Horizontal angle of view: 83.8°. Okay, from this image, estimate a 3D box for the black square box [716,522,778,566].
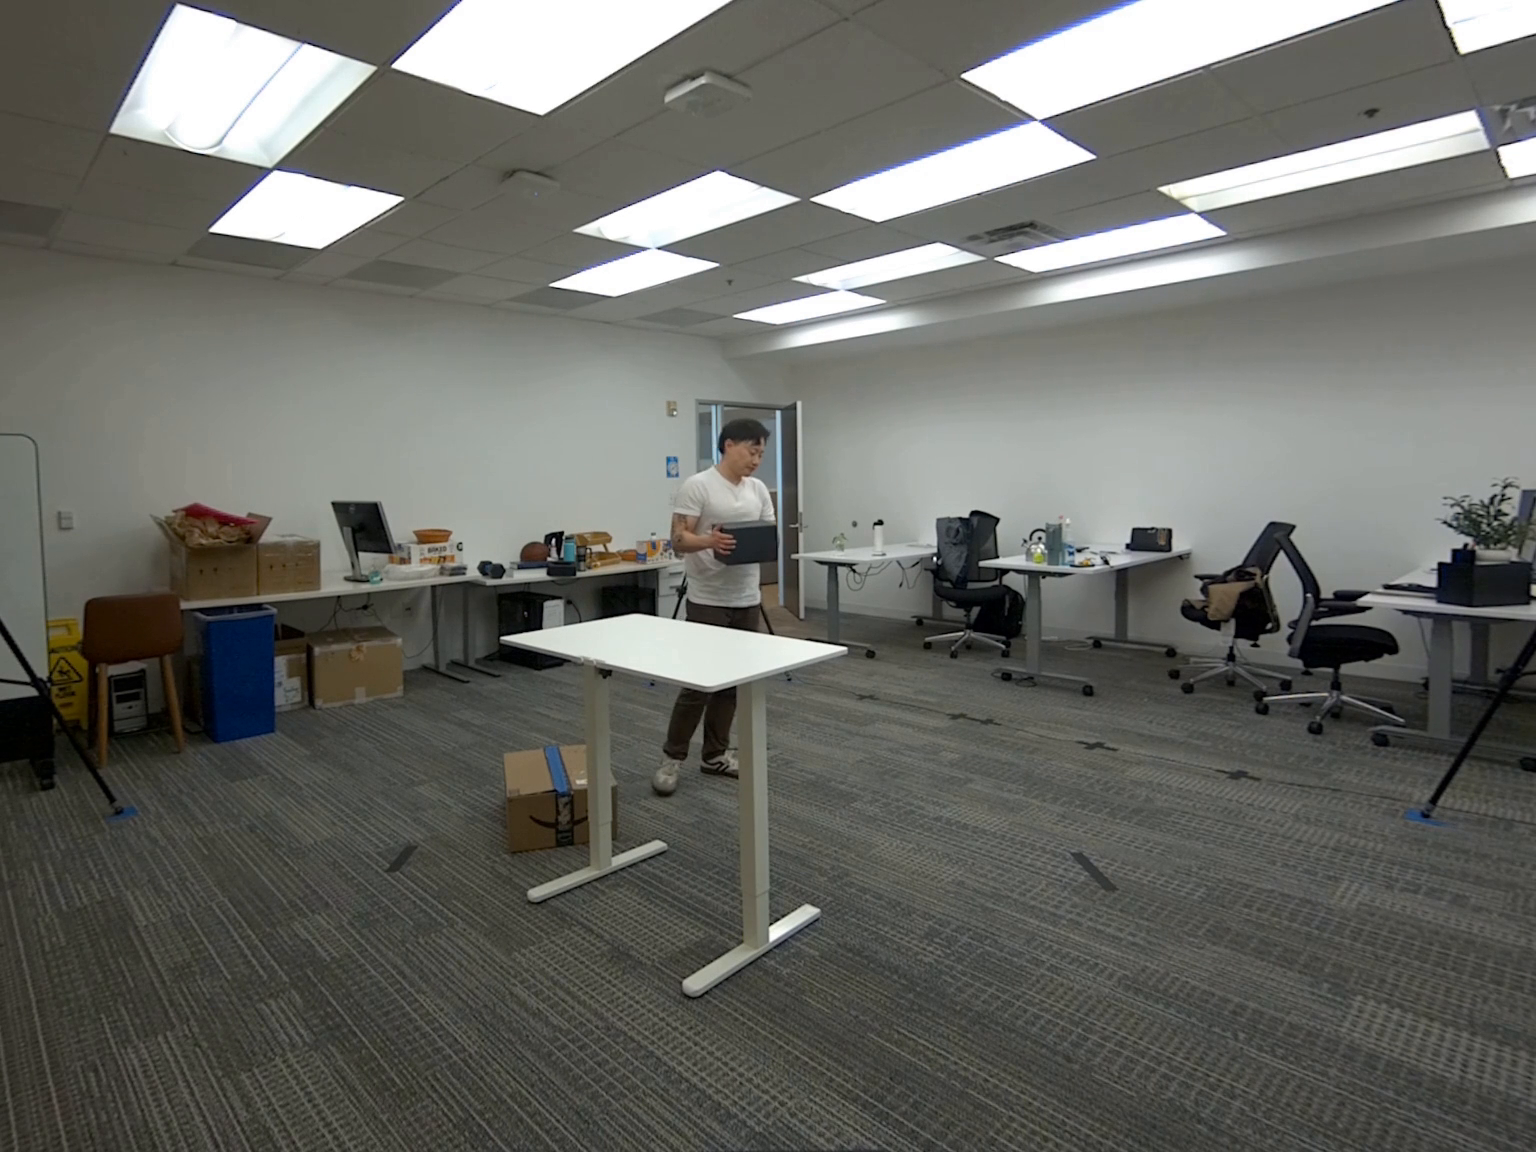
[{"bbox_3d":[-0.085,-0.136,3.664,0.226,0.155,0.221,-5,9,-12],"label":"black square box"}]
